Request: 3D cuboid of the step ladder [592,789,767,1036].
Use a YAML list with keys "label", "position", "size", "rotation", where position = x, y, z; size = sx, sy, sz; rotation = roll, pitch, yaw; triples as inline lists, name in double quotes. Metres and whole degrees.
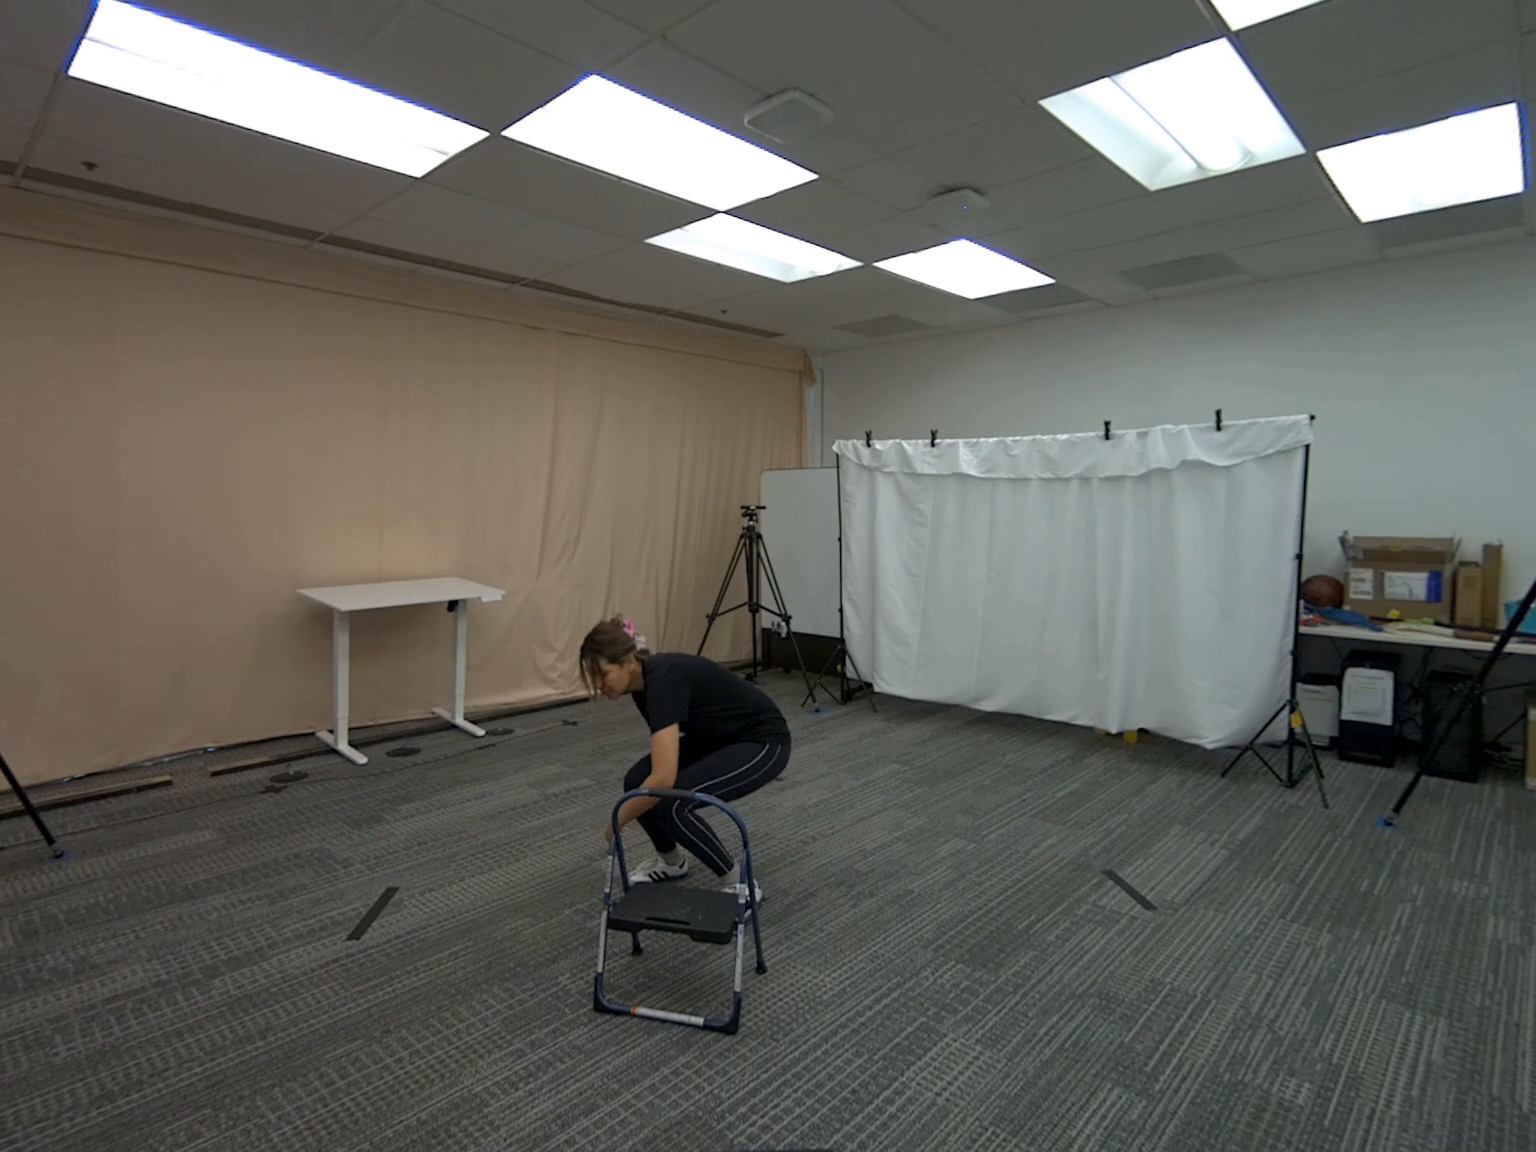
- label: "step ladder"
  position: [-0.249, 0.886, 2.417]
  size: [0.438, 0.605, 0.344]
  rotation: [1, 3, 14]
